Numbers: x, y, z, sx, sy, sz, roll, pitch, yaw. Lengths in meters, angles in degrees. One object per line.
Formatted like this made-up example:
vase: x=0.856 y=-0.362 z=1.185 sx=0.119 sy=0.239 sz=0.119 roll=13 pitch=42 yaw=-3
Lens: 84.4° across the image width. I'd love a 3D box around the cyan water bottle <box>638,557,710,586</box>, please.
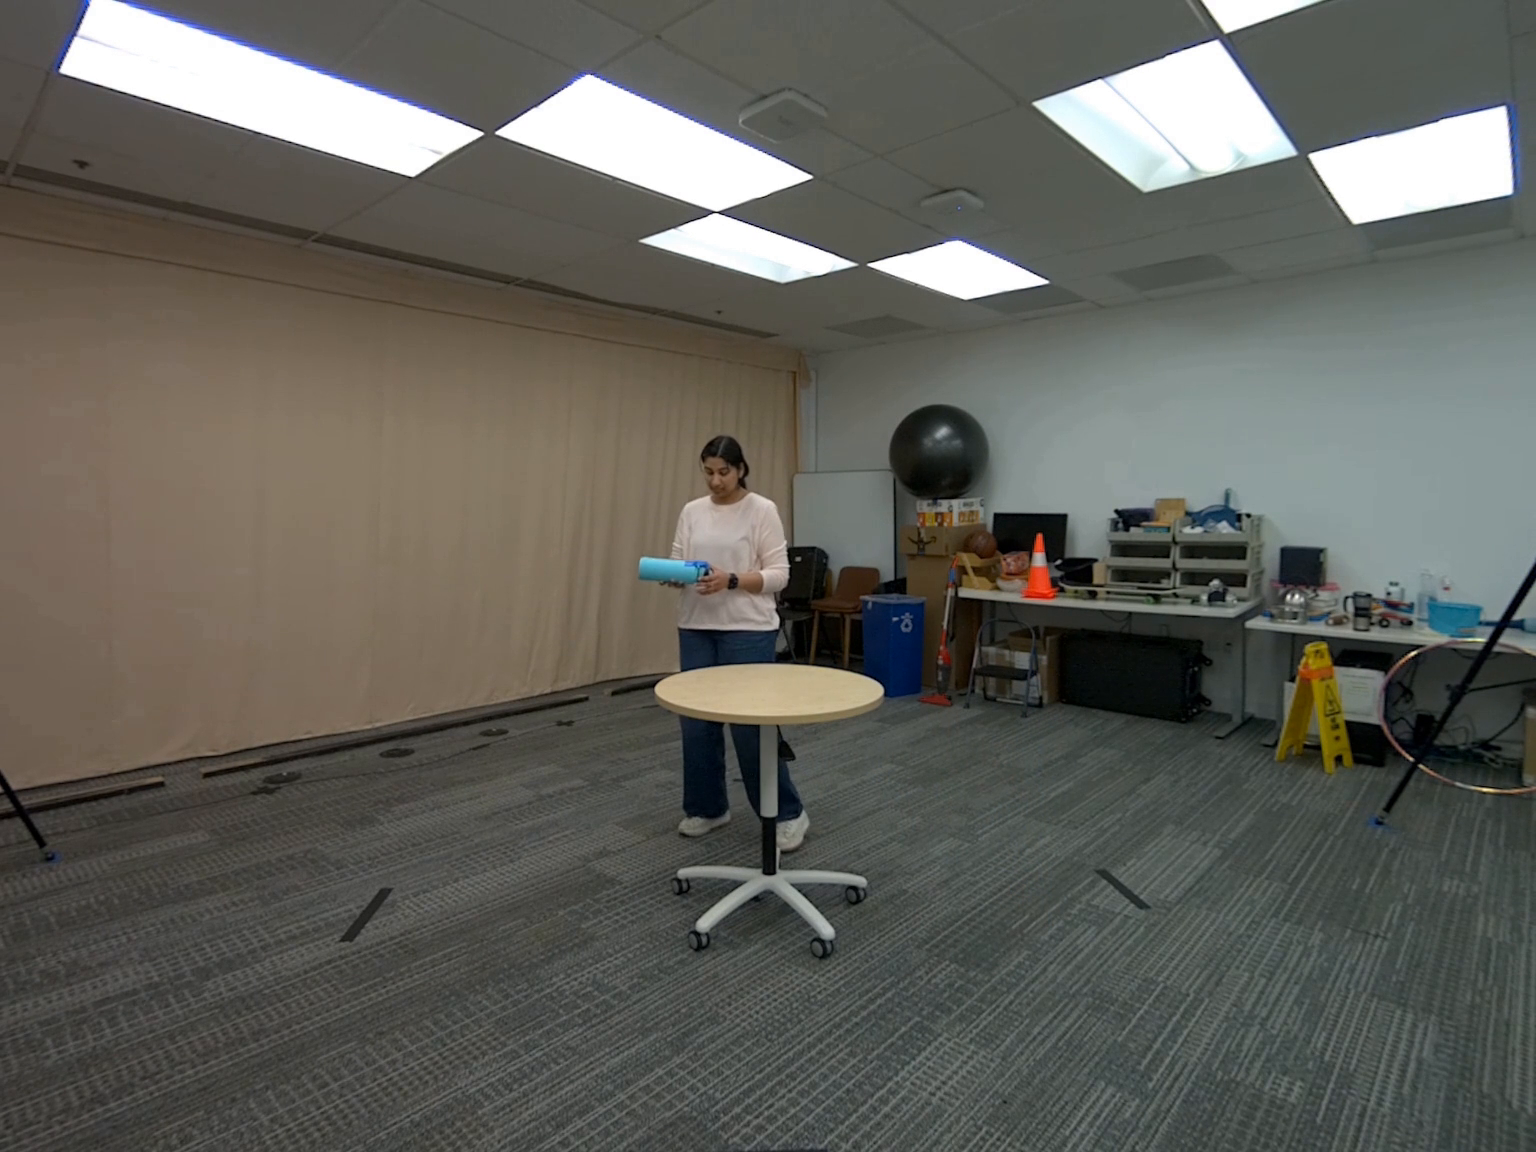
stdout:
cyan water bottle: x=-0.378 y=-0.016 z=3.282 sx=0.285 sy=0.092 sz=0.092 roll=5 pitch=4 yaw=6
